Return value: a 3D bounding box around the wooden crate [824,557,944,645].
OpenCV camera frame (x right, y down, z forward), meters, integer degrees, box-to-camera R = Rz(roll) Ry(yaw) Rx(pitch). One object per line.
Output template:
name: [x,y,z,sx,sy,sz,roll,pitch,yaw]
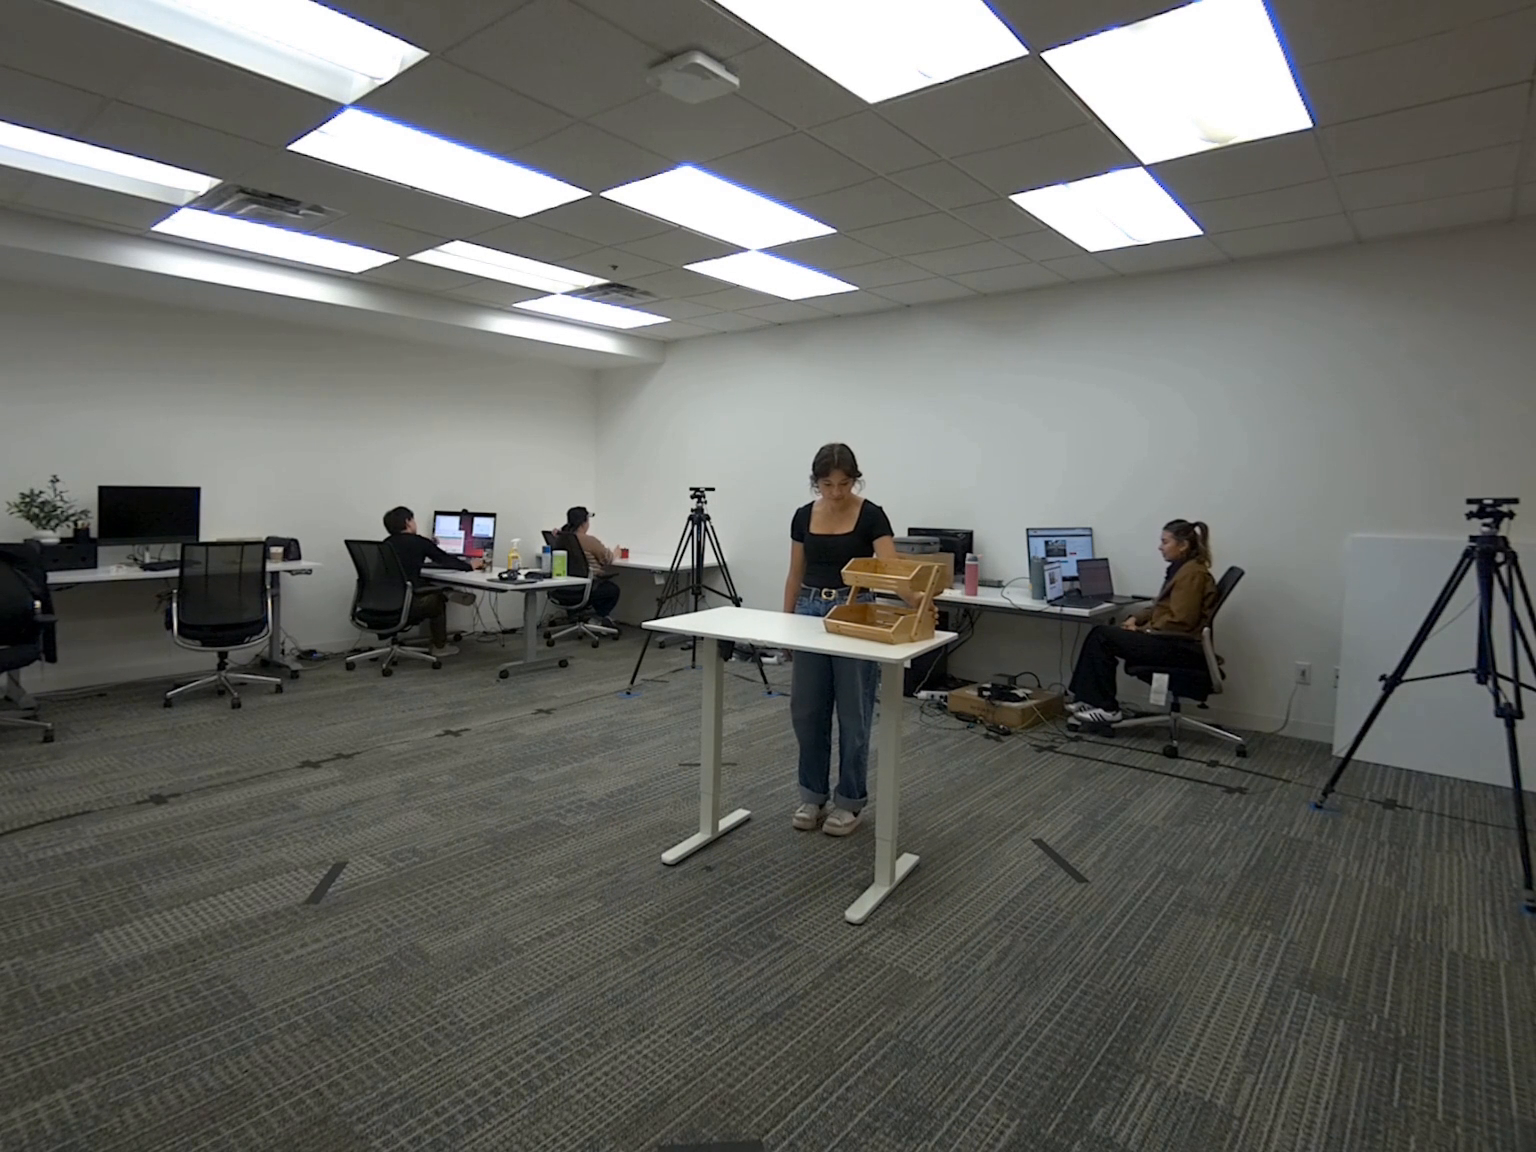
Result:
wooden crate: [0.406,0.072,3.033,0.293,0.272,0.336,-2,6,-44]
